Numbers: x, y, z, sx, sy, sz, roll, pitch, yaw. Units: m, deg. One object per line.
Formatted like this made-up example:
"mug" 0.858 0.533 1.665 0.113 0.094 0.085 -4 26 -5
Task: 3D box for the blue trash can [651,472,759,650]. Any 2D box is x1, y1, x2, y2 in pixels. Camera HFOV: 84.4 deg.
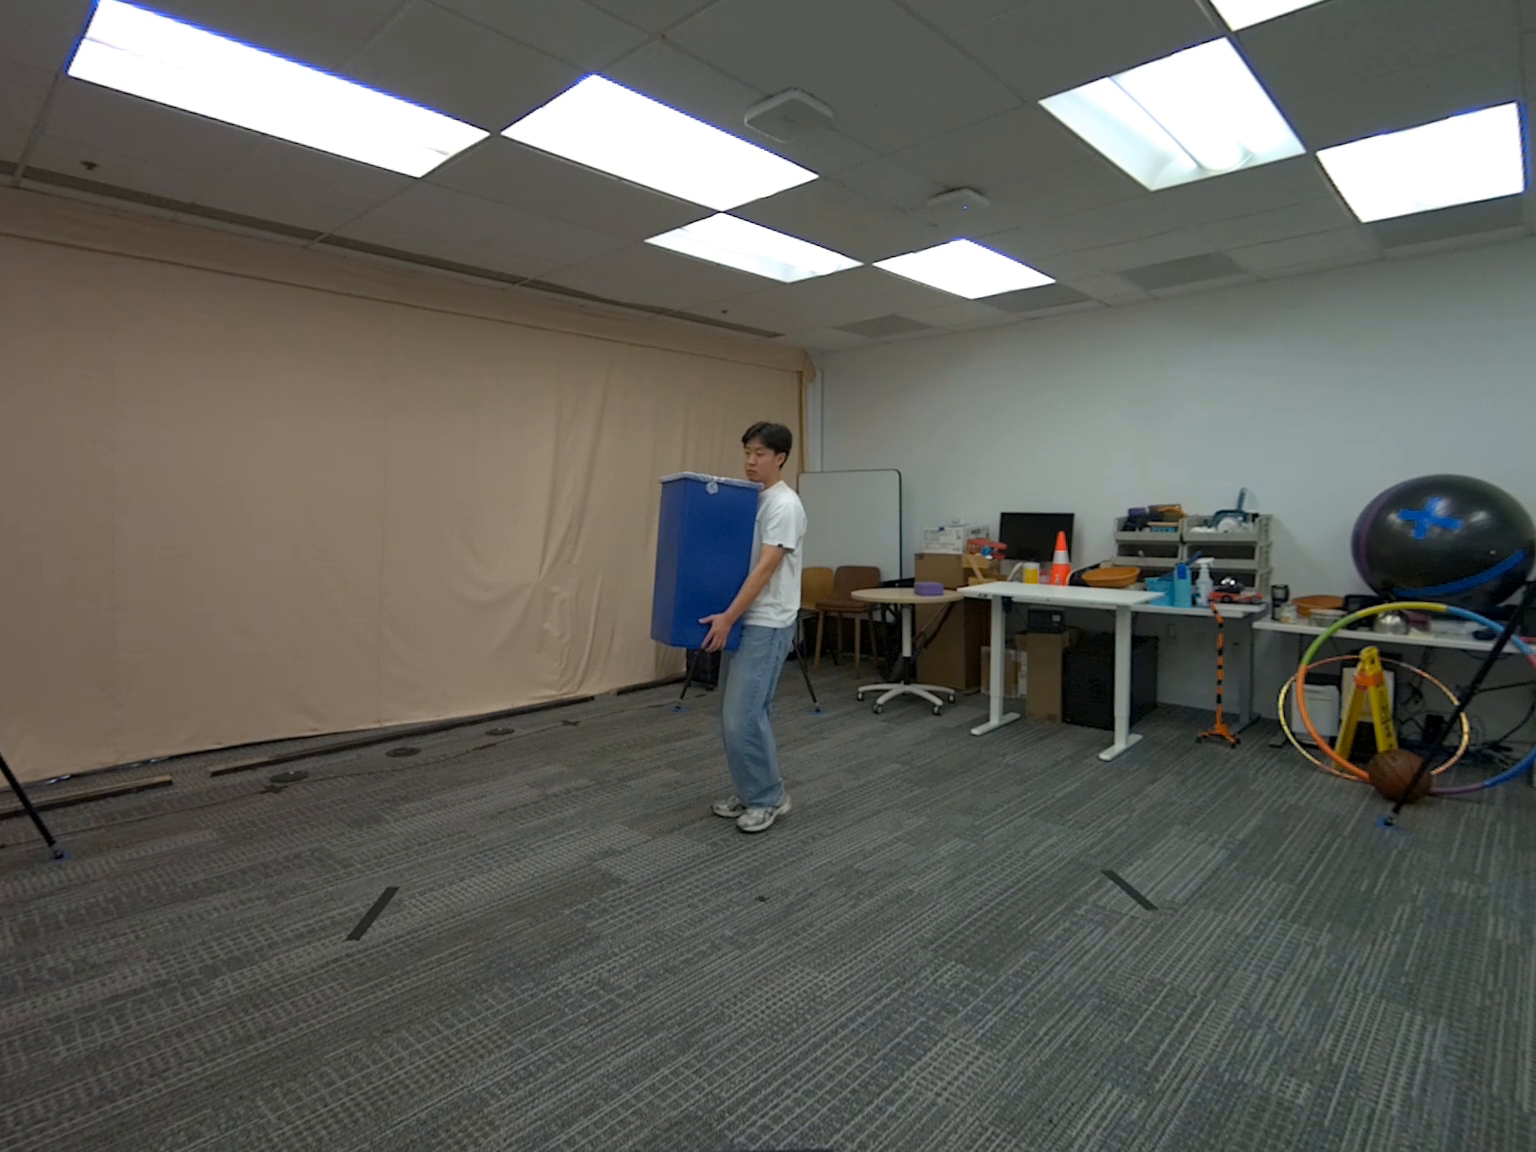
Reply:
"blue trash can" -0.301 -0.063 3.649 0.369 0.714 0.382 6 -2 -22
